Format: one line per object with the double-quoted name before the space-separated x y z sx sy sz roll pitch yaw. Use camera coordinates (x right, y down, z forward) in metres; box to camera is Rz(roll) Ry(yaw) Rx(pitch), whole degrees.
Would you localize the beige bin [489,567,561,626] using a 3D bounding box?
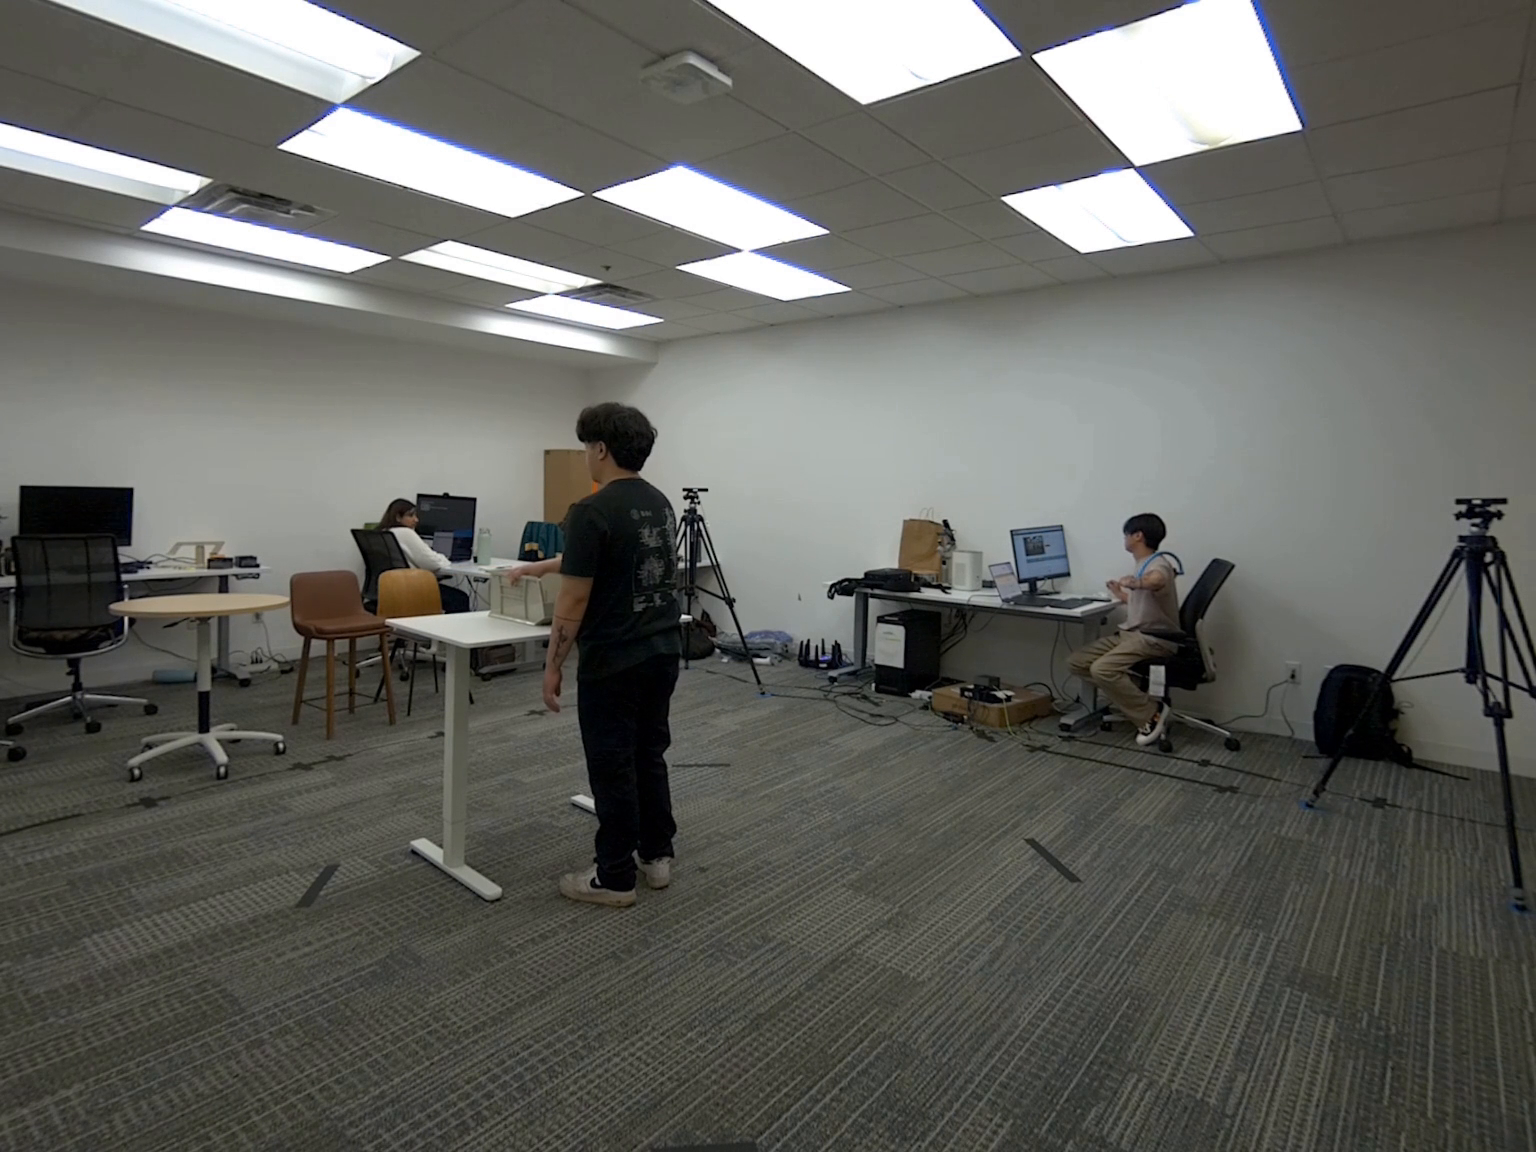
"beige bin" -0.818 0.065 3.308 0.390 0.188 0.410 5 6 42
